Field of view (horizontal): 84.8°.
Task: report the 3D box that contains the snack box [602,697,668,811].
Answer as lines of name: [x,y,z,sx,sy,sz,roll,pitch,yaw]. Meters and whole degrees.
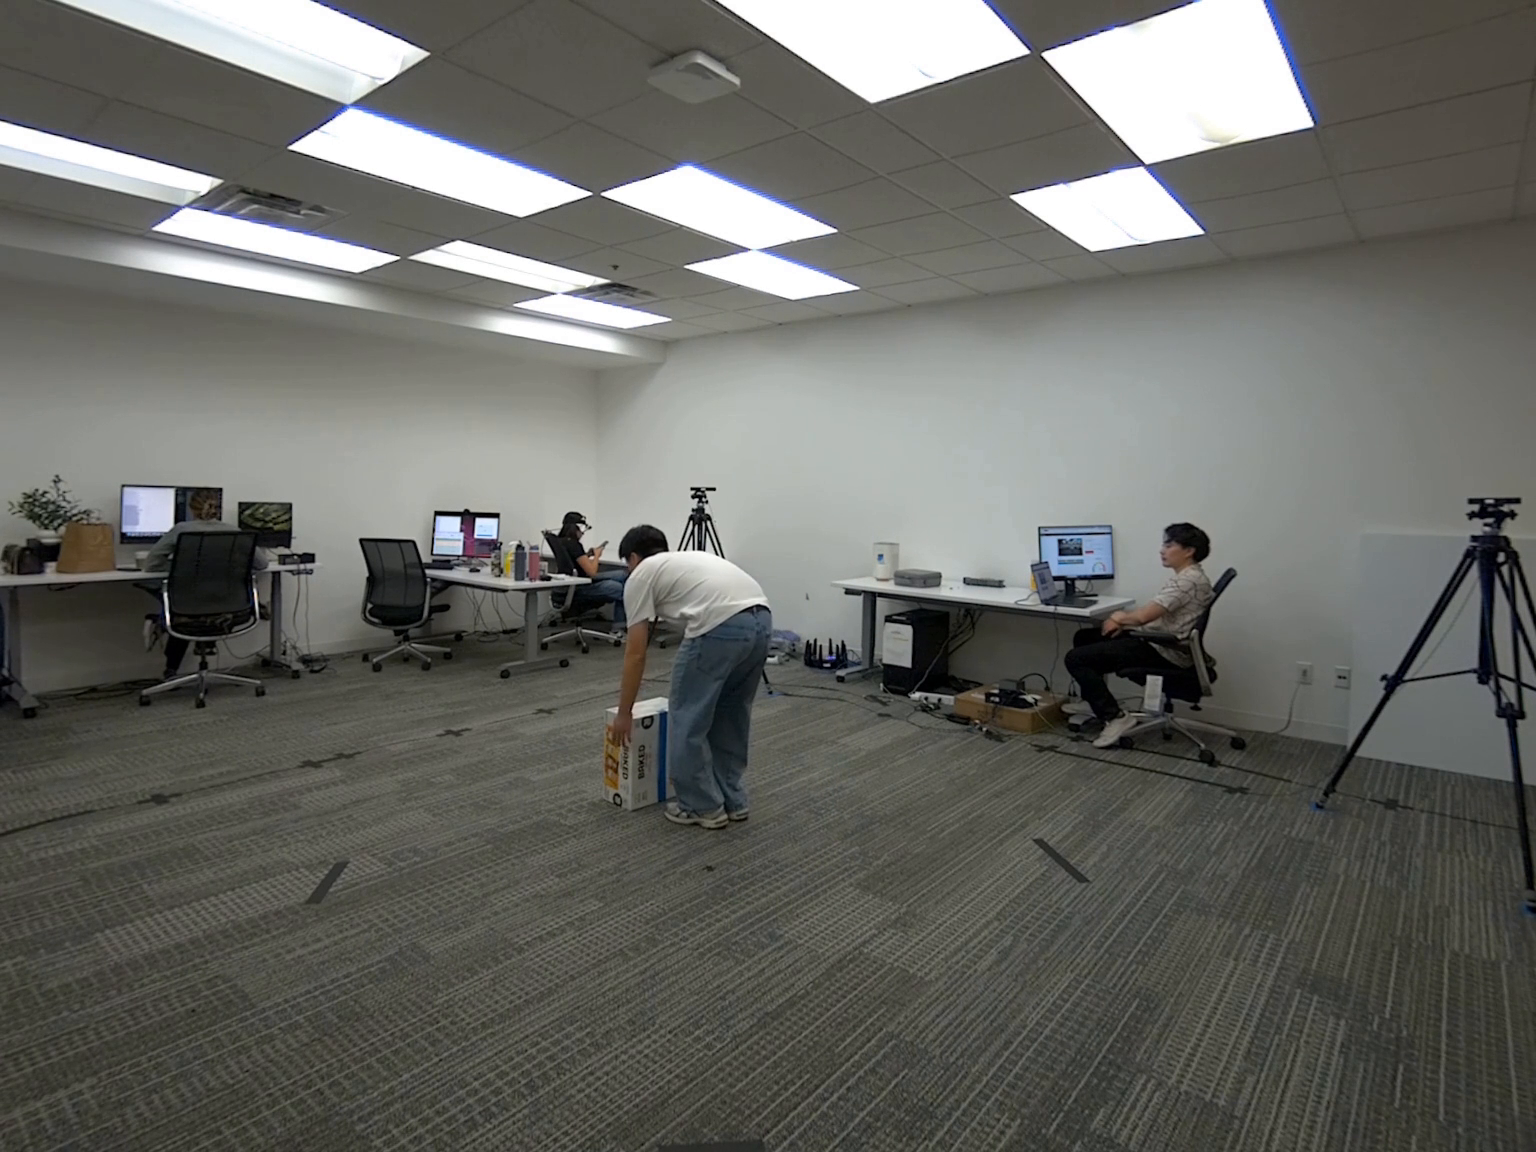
snack box: [-0.558,0.788,3.820,0.213,0.404,0.330,5,6,42]
